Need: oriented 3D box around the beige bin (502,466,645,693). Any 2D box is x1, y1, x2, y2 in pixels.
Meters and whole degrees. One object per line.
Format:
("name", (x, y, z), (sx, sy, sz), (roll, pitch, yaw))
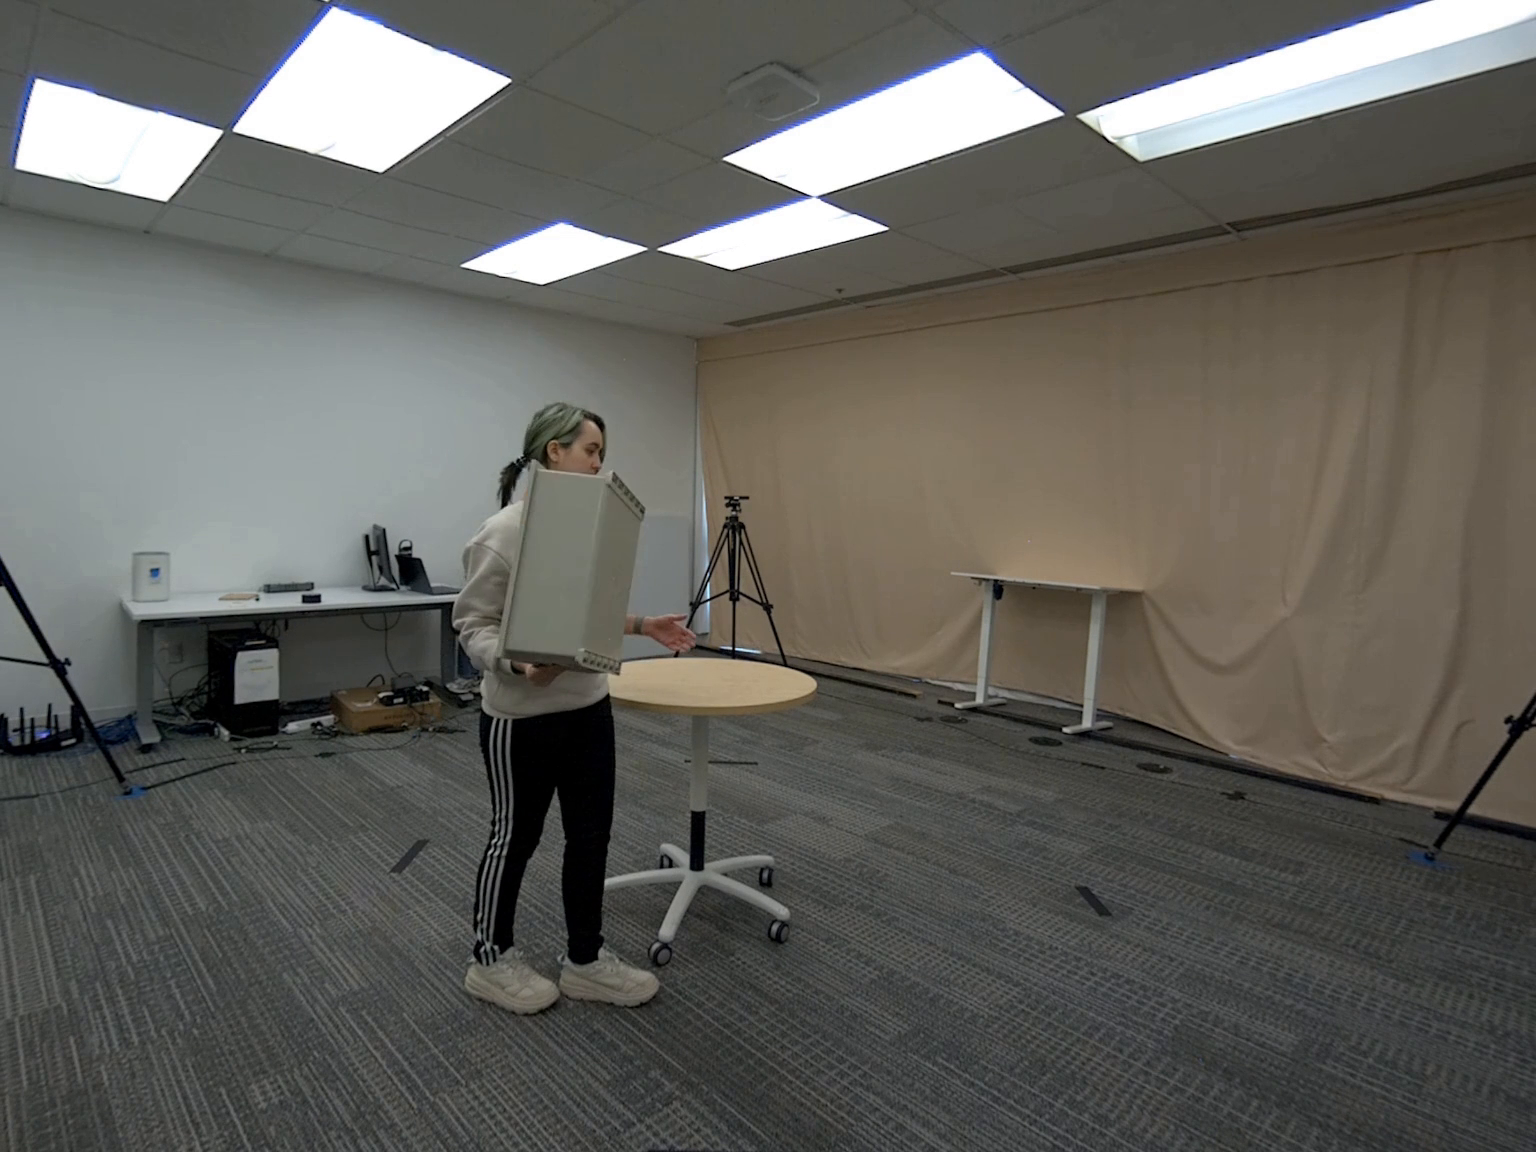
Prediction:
("beige bin", (-0.426, 0.007, 1.903), (0.190, 0.425, 0.371), (6, -12, 9))
